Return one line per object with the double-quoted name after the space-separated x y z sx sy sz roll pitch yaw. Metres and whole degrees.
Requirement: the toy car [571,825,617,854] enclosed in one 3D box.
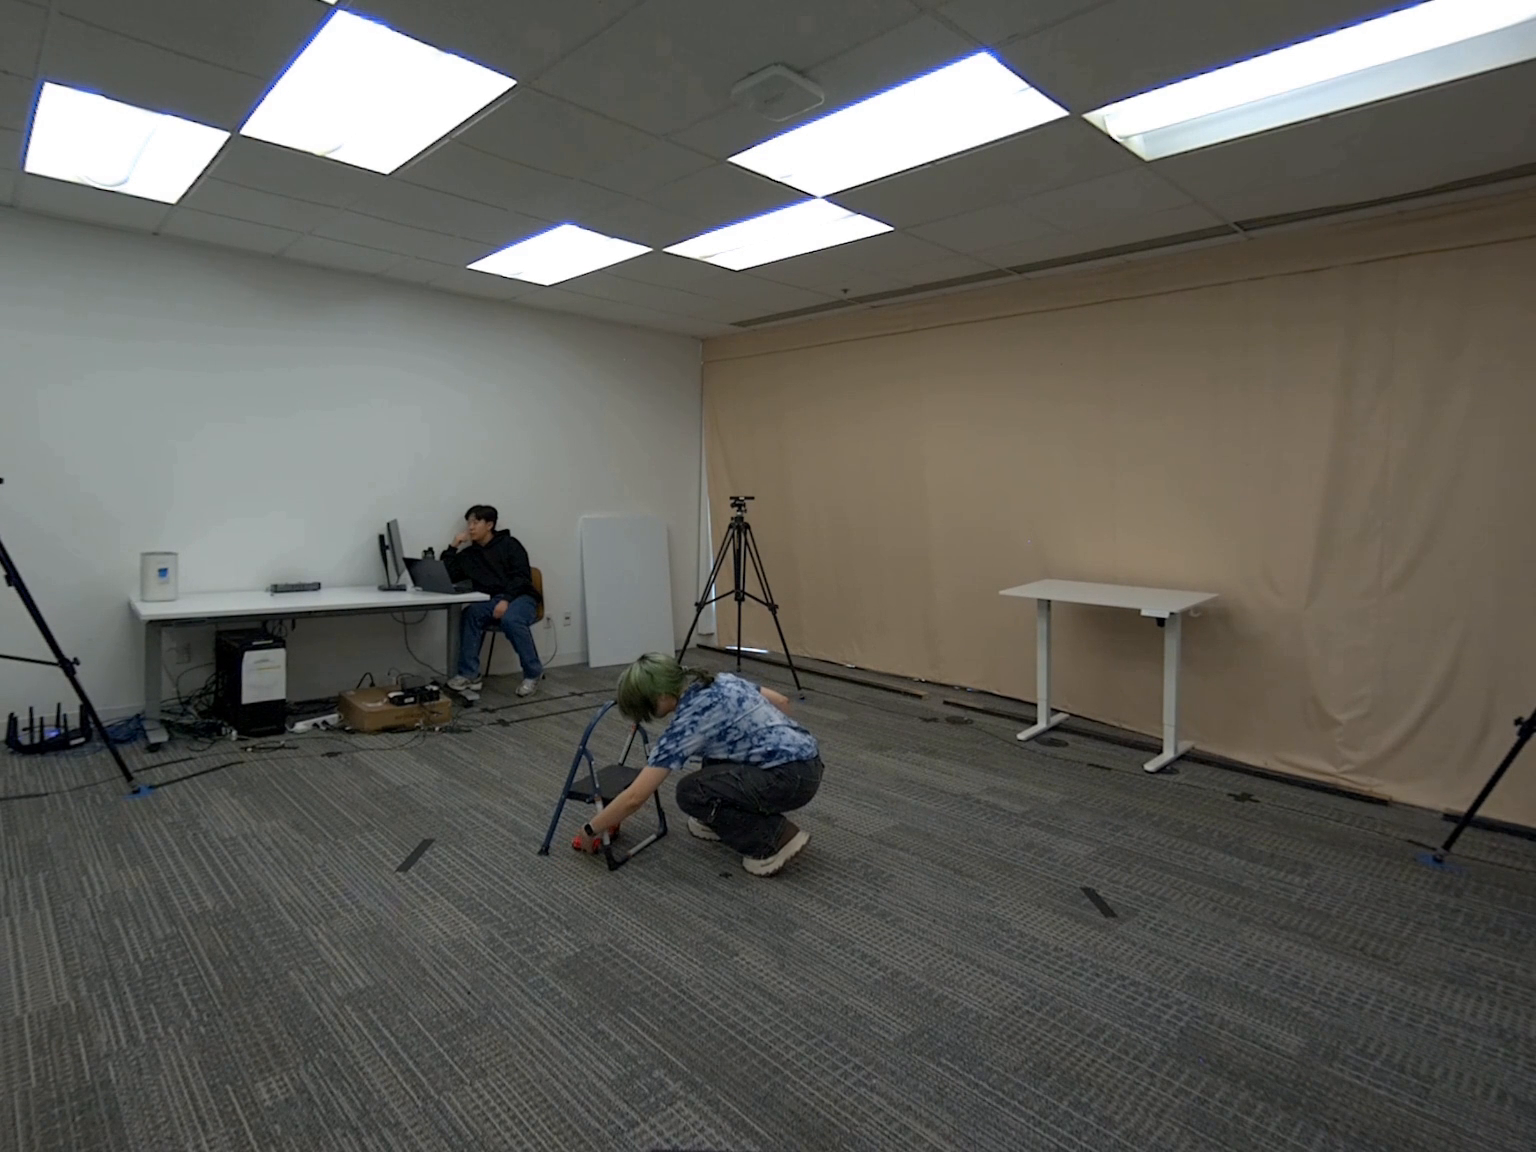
-0.681 1.030 3.382 0.132 0.082 0.254 2 17 17 "toy car"
